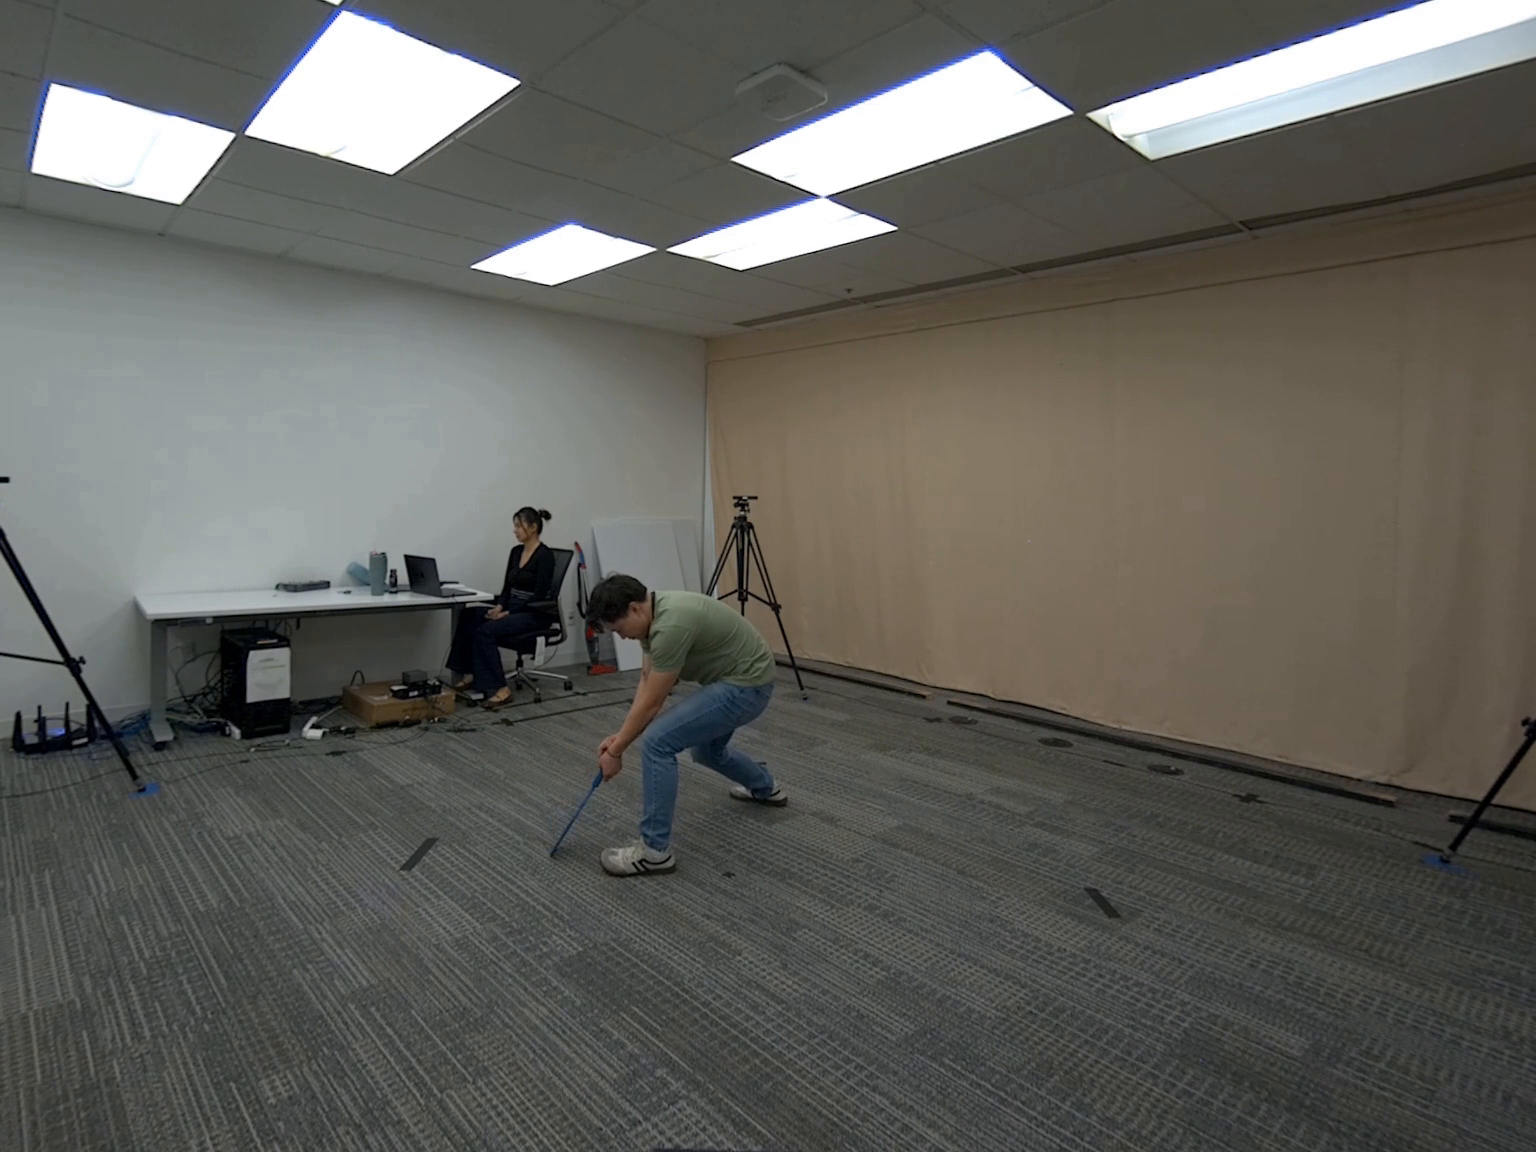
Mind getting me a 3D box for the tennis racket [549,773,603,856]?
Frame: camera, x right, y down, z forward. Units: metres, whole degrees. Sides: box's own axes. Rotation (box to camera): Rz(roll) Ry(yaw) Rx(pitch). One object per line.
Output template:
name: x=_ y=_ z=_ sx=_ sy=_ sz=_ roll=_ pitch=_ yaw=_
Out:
tennis racket: x=-0.721 y=0.885 z=3.238 sx=0.032 sy=0.433 sz=0.213 roll=32 pitch=2 yaw=3
